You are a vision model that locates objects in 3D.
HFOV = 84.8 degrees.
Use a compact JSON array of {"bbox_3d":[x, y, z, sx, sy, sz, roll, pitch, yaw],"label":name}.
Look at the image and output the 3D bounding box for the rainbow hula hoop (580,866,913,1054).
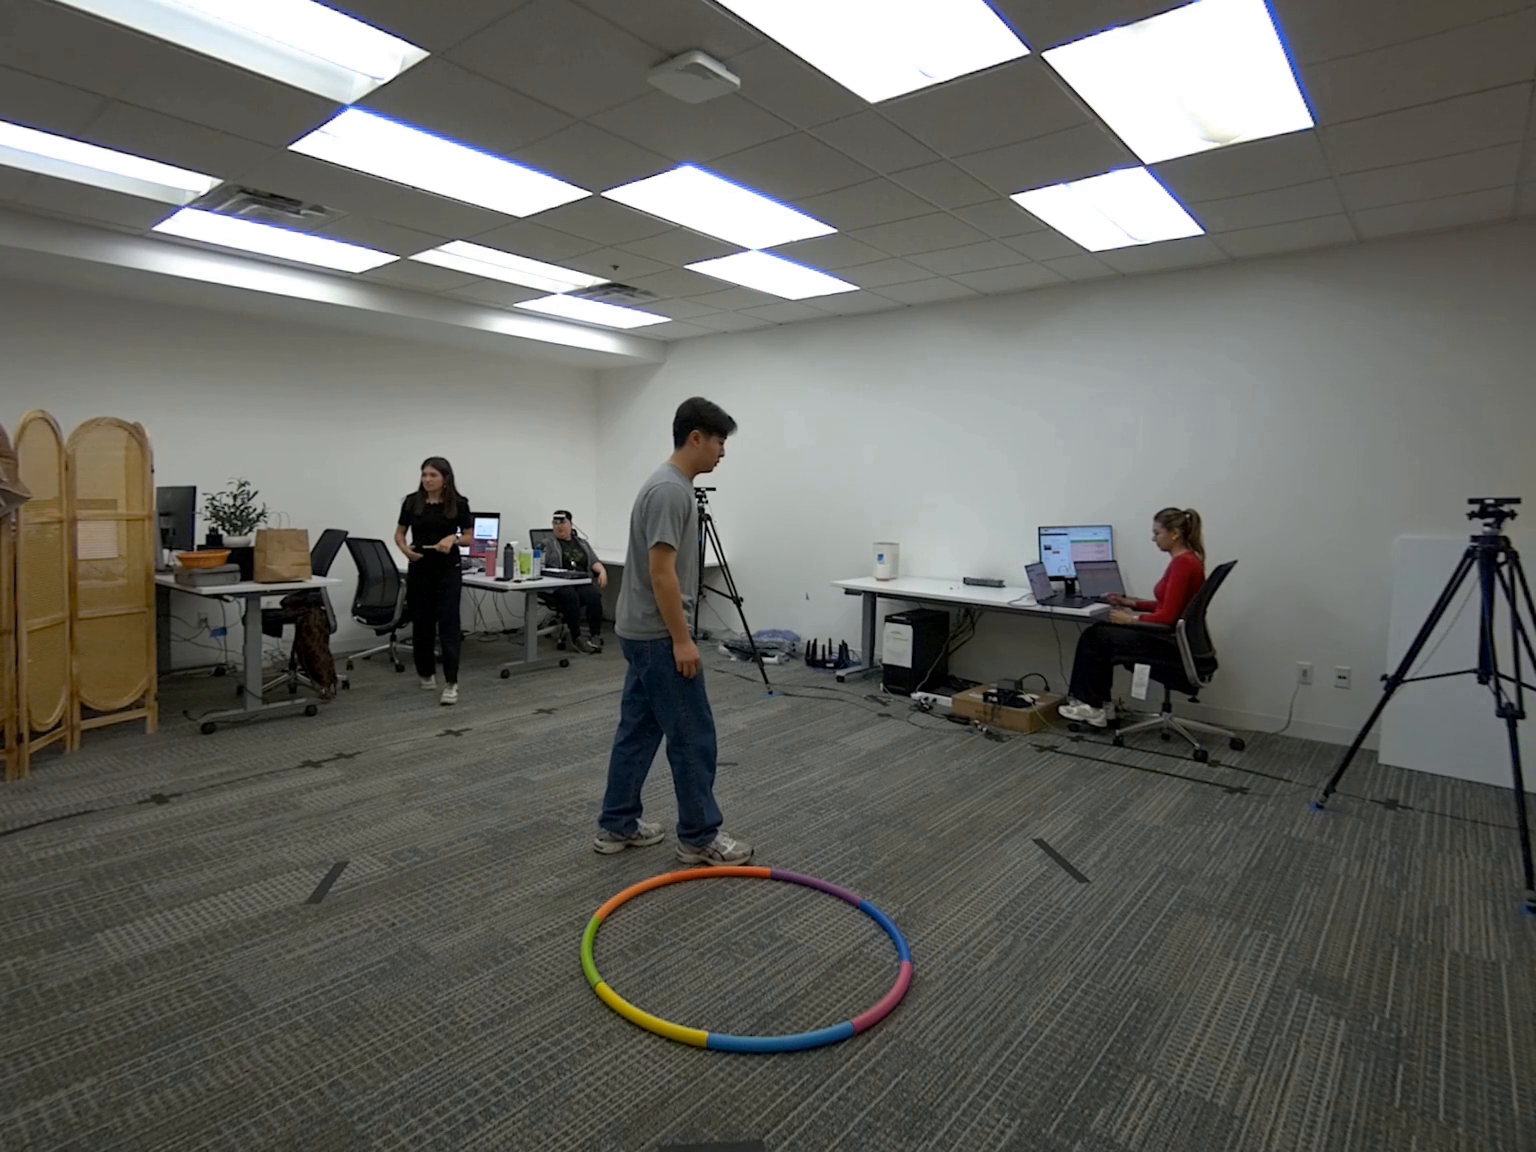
[{"bbox_3d":[-0.077,1.092,2.574,0.978,0.035,0.984,1,5,-2],"label":"rainbow hula hoop"}]
